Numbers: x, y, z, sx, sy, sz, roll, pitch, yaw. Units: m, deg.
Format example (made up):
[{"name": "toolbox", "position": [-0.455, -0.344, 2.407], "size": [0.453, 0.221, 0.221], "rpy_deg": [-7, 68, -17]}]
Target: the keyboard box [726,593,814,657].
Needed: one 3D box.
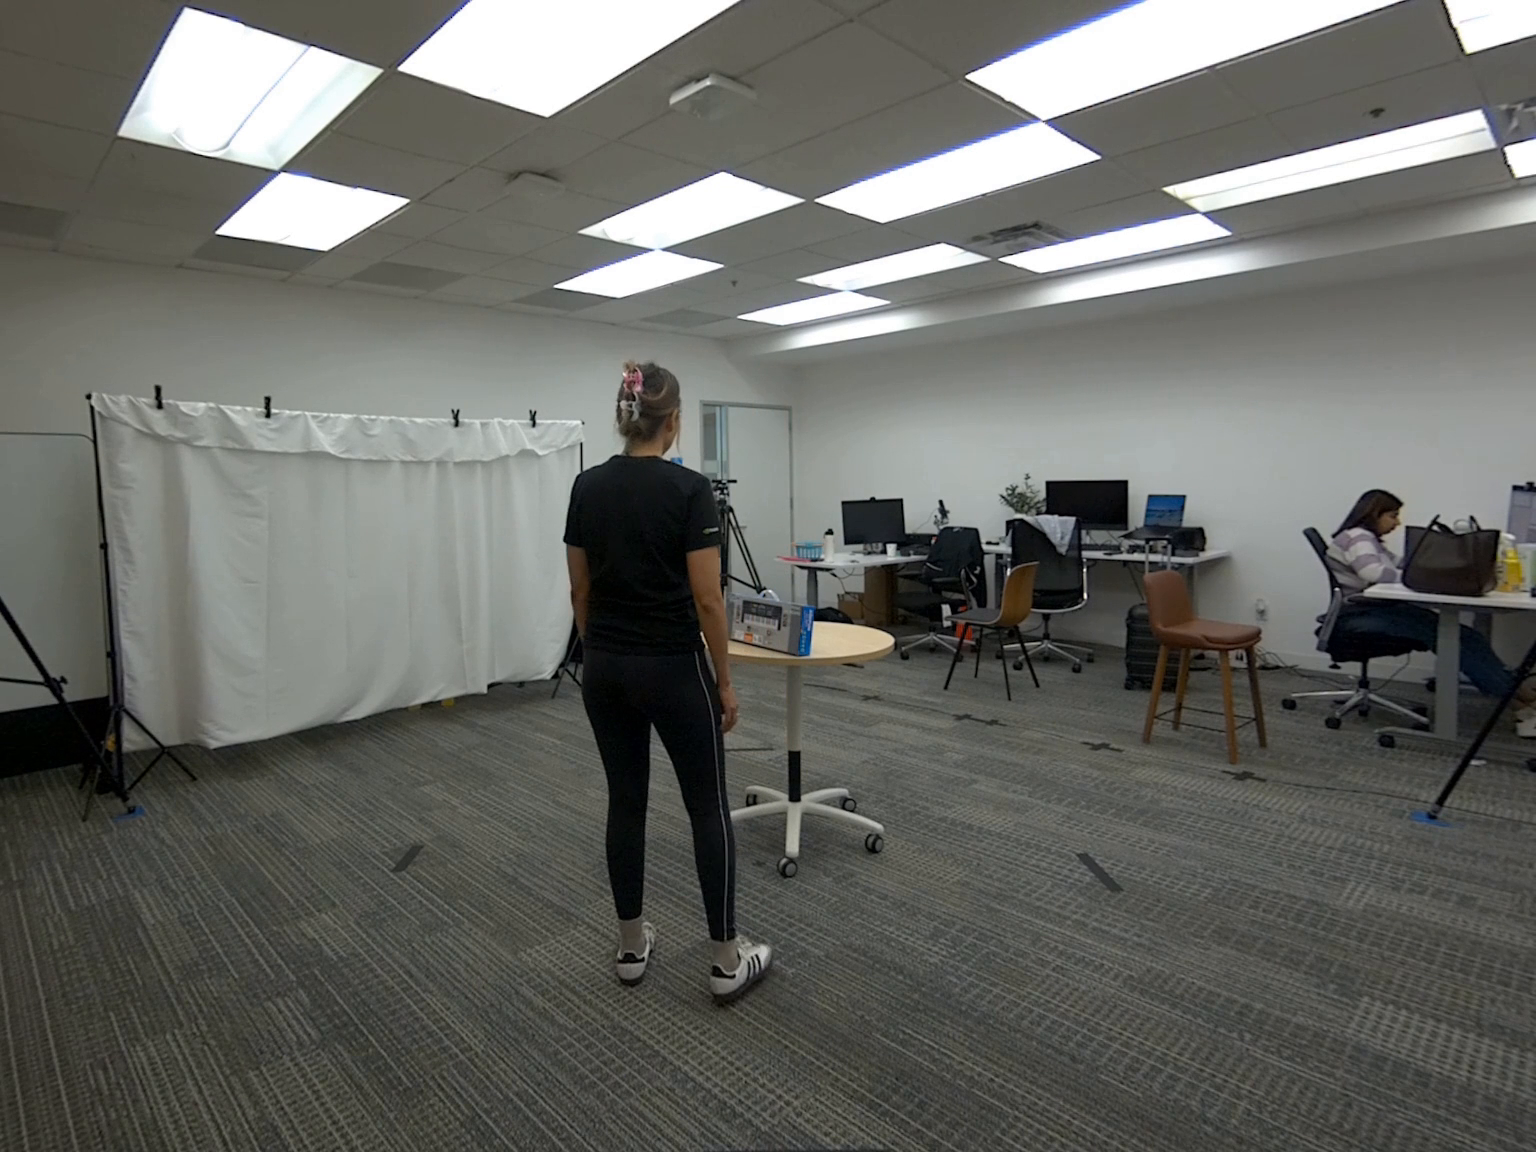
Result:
[{"name": "keyboard box", "position": [-0.004, 0.172, 3.128], "size": [0.057, 0.176, 0.450], "rpy_deg": [6, 1, -39]}]
